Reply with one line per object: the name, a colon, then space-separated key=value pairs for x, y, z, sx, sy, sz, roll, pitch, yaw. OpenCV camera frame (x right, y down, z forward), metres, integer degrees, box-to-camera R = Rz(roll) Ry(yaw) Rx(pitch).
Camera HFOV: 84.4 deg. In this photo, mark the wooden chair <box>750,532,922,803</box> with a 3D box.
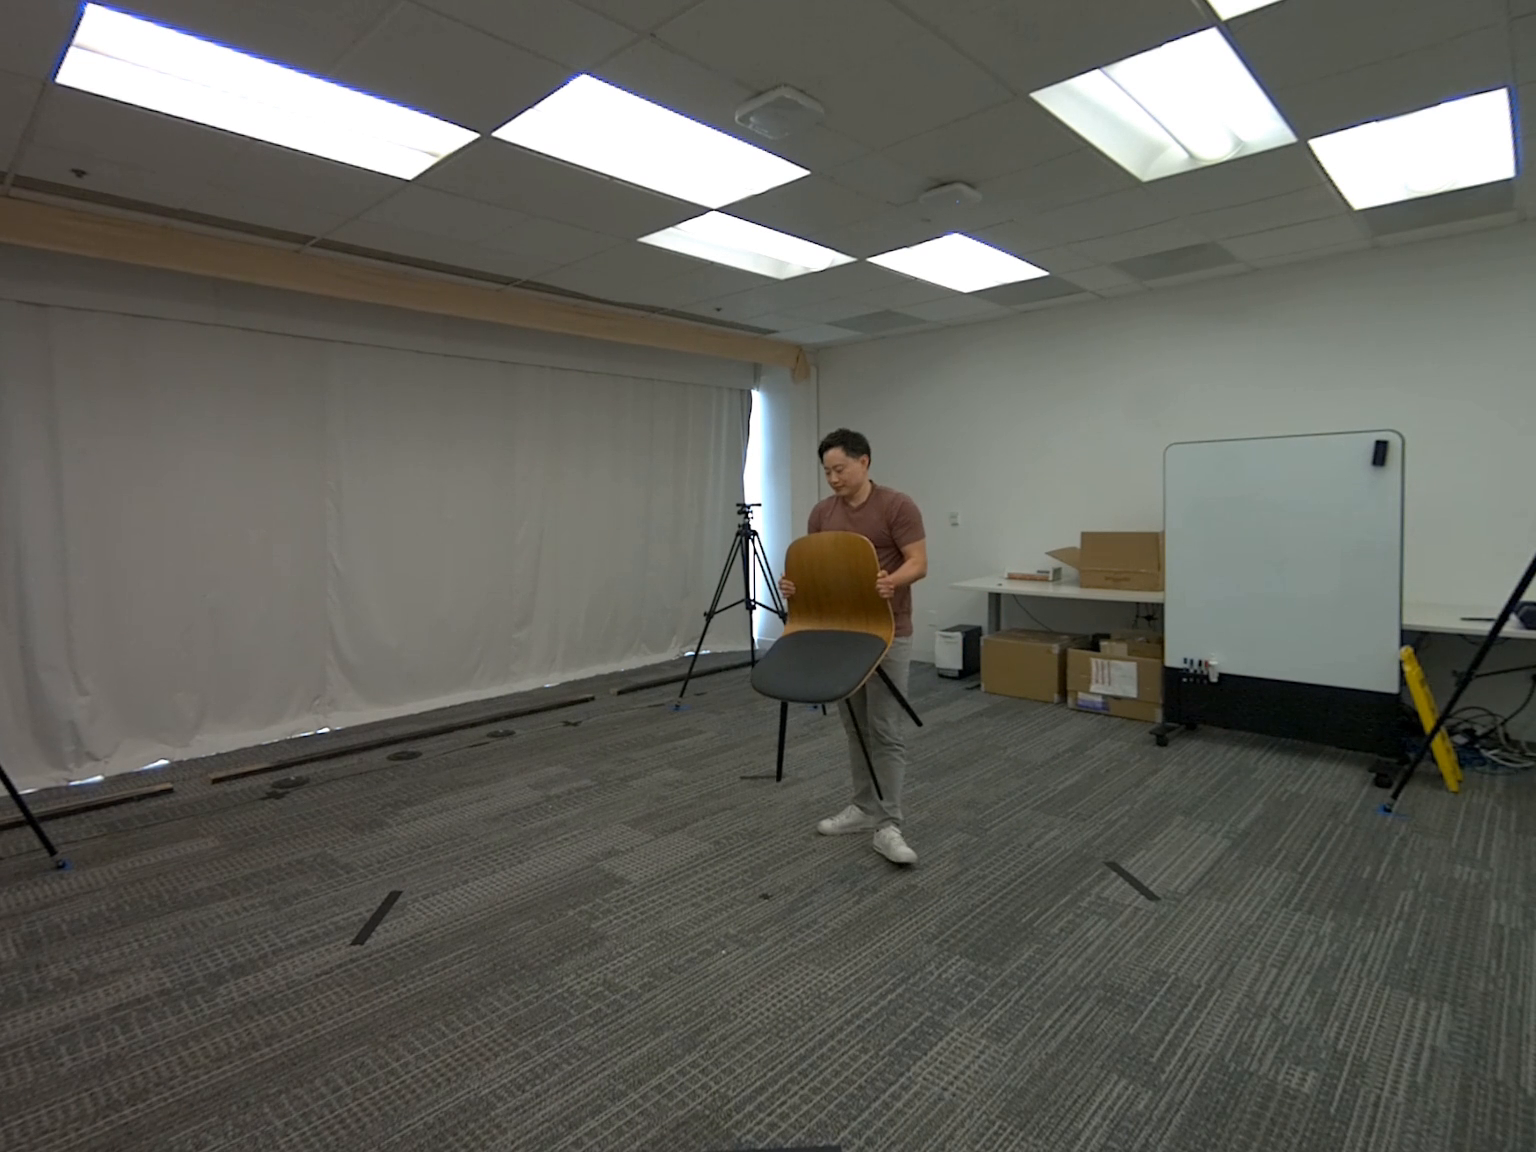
wooden chair: x=0.221 y=0.338 z=3.185 sx=0.492 sy=0.864 sz=0.515 roll=1 pitch=23 yaw=33
